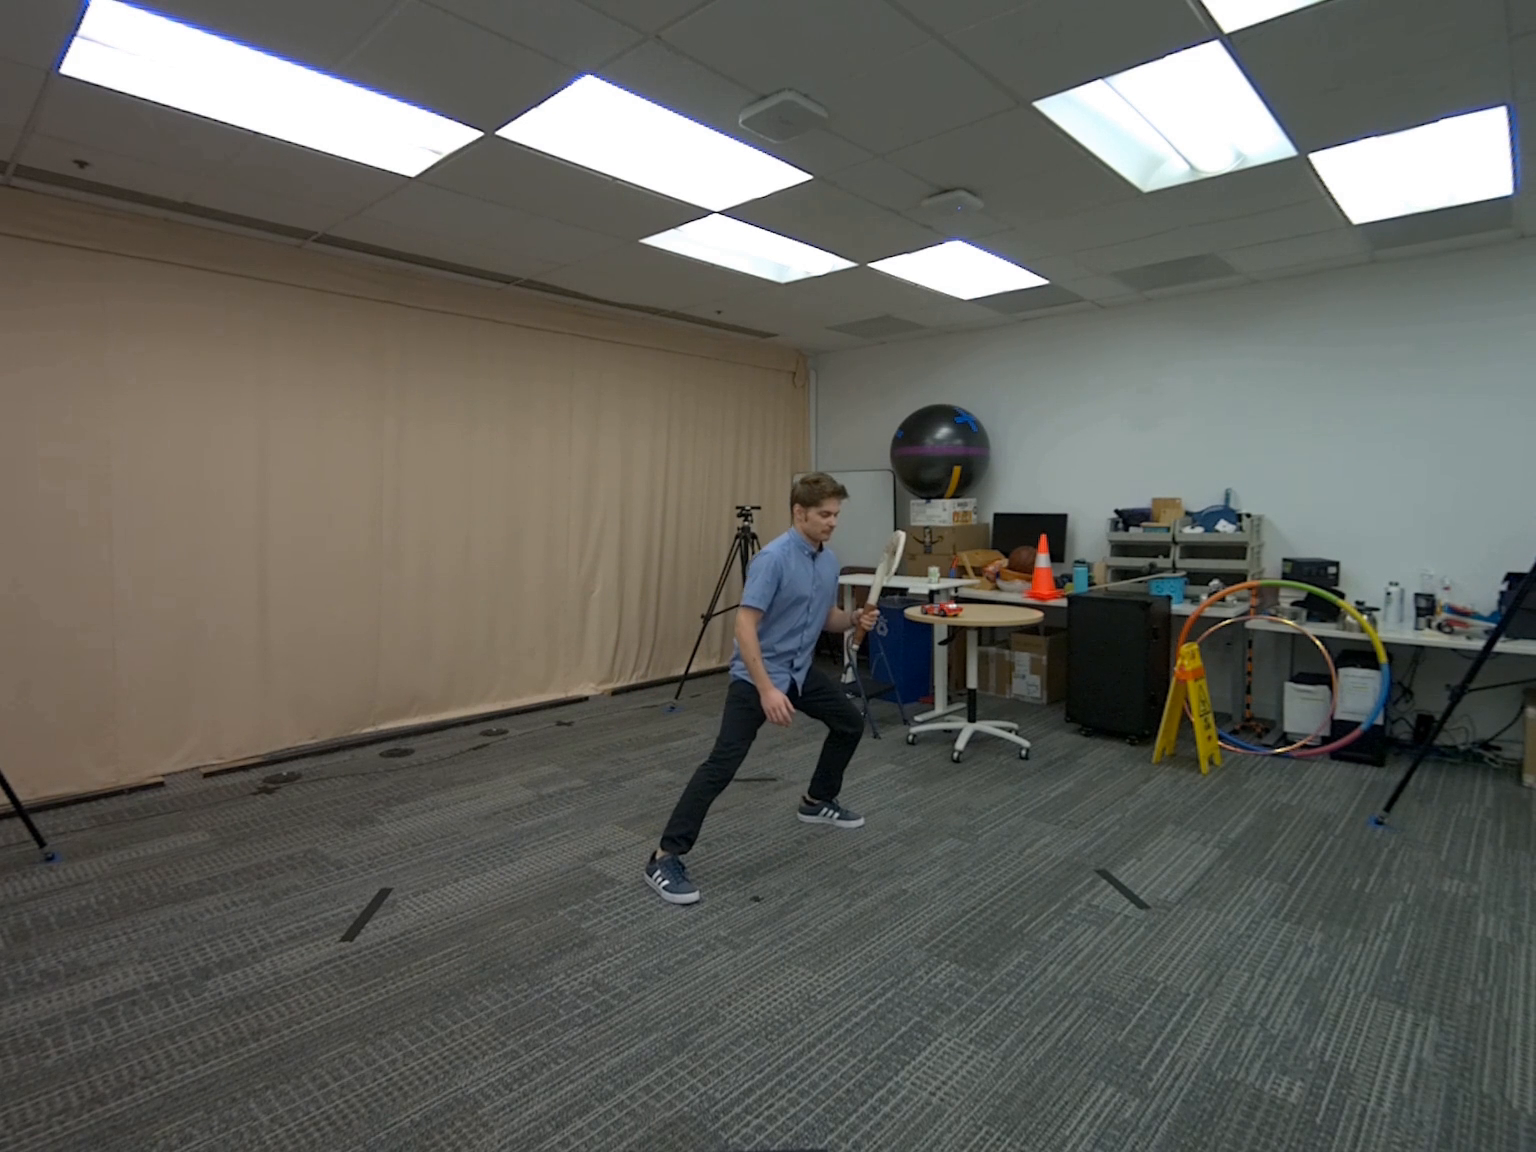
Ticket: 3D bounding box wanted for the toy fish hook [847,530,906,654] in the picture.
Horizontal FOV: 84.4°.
[{"bbox_3d":[0.430,0.070,3.232,0.048,0.505,0.226,16,11,-3],"label":"toy fish hook"}]
